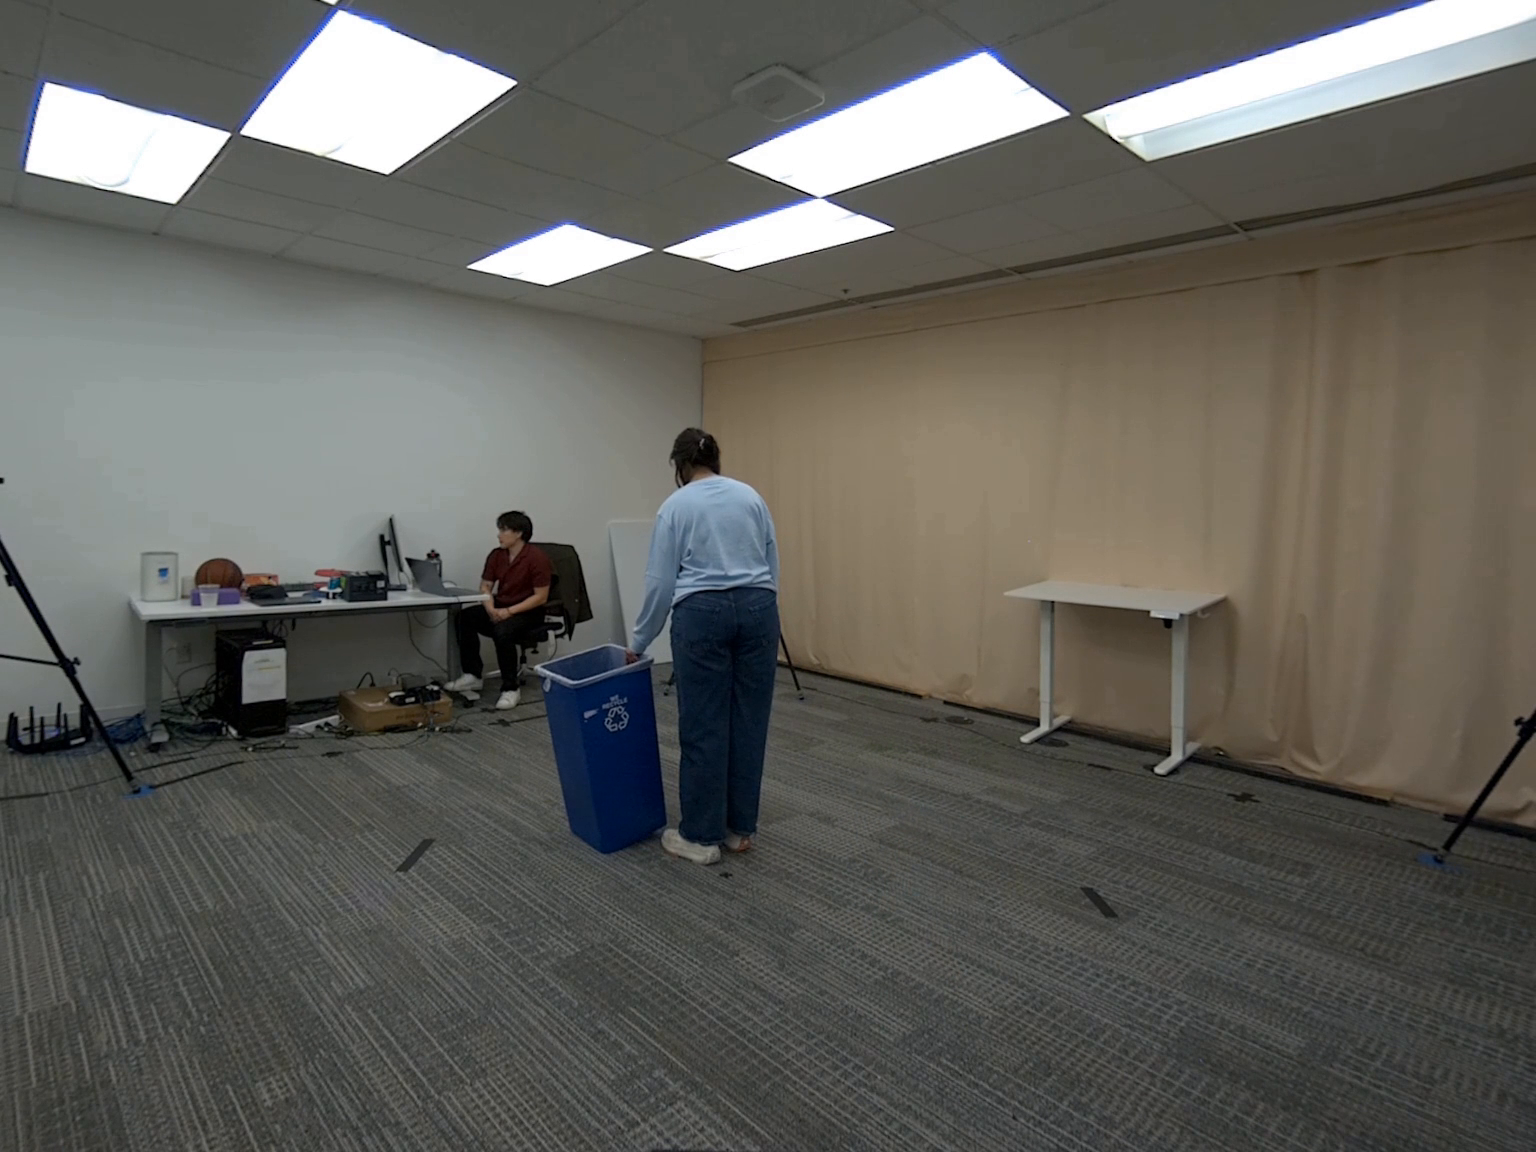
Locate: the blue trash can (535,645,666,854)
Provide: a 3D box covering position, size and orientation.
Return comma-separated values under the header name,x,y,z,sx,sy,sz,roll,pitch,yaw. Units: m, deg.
name,x,y,z,sx,sy,sz,roll,pitch,yaw
blue trash can,-0.658,0.685,3.402,0.368,0.707,0.388,-15,14,-38
